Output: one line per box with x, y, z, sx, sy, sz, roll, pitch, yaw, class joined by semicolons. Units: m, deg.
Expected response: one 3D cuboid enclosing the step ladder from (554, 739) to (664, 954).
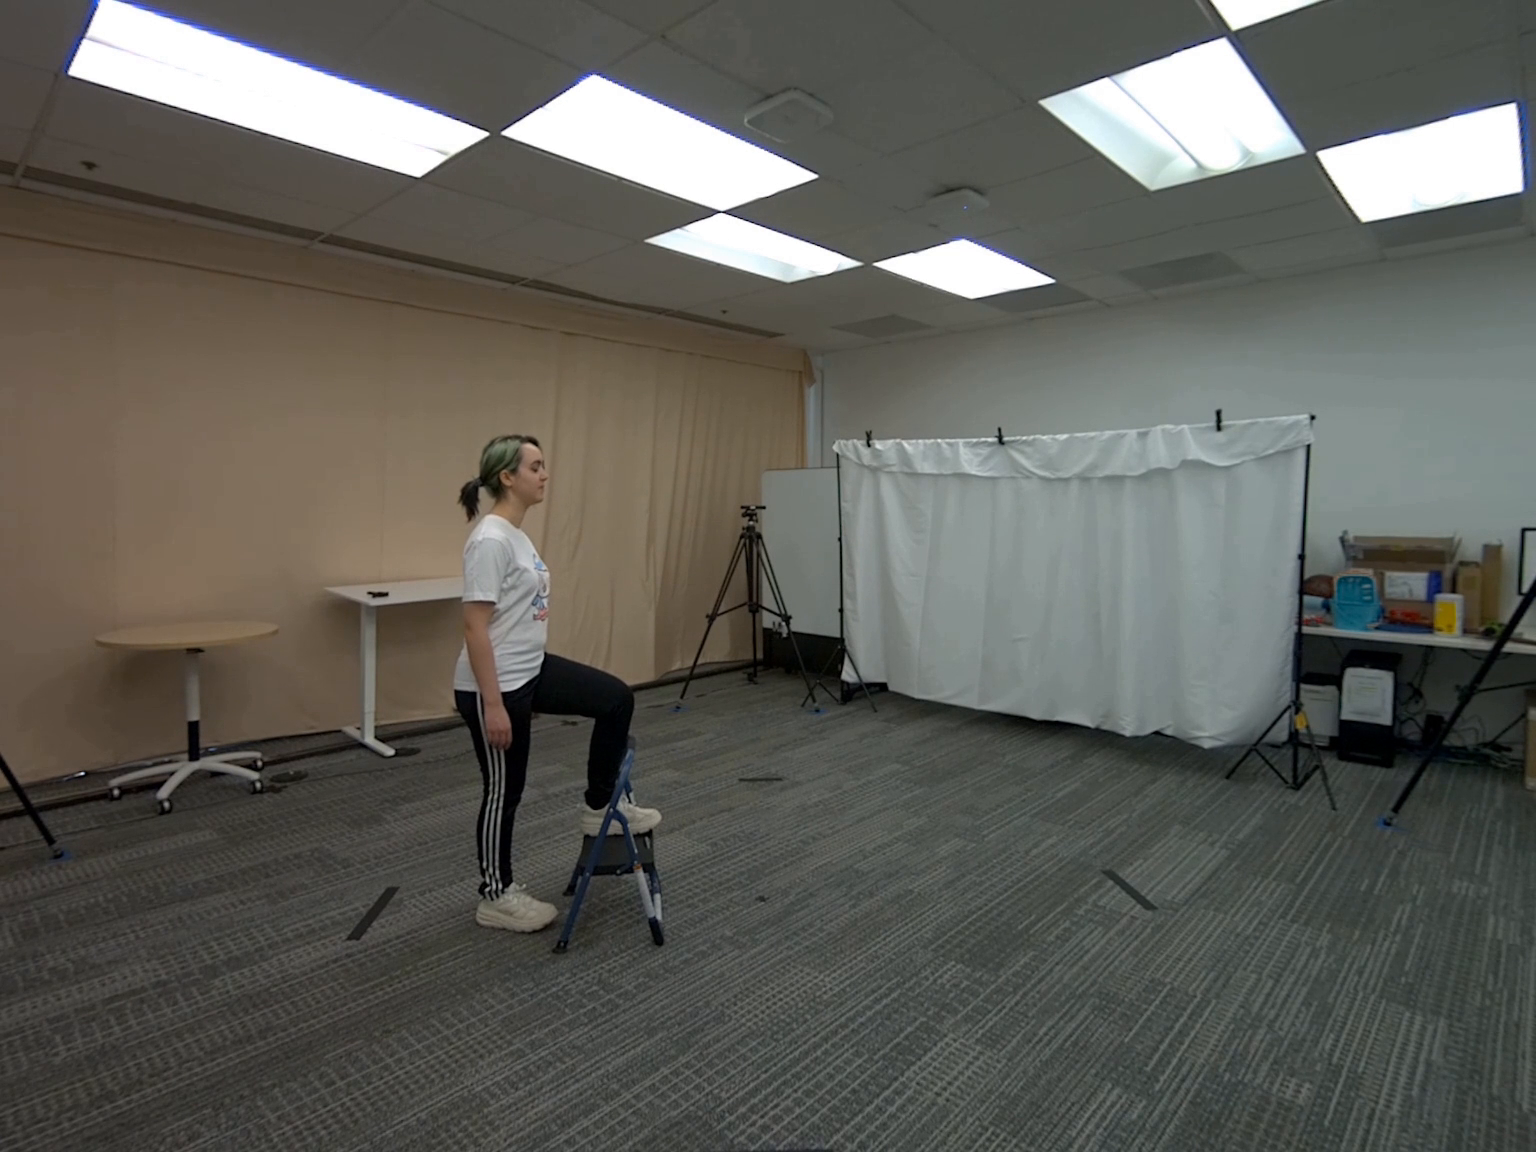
-0.532;0.865;2.834;0.346;0.605;0.435;-1;3;-8;step ladder
